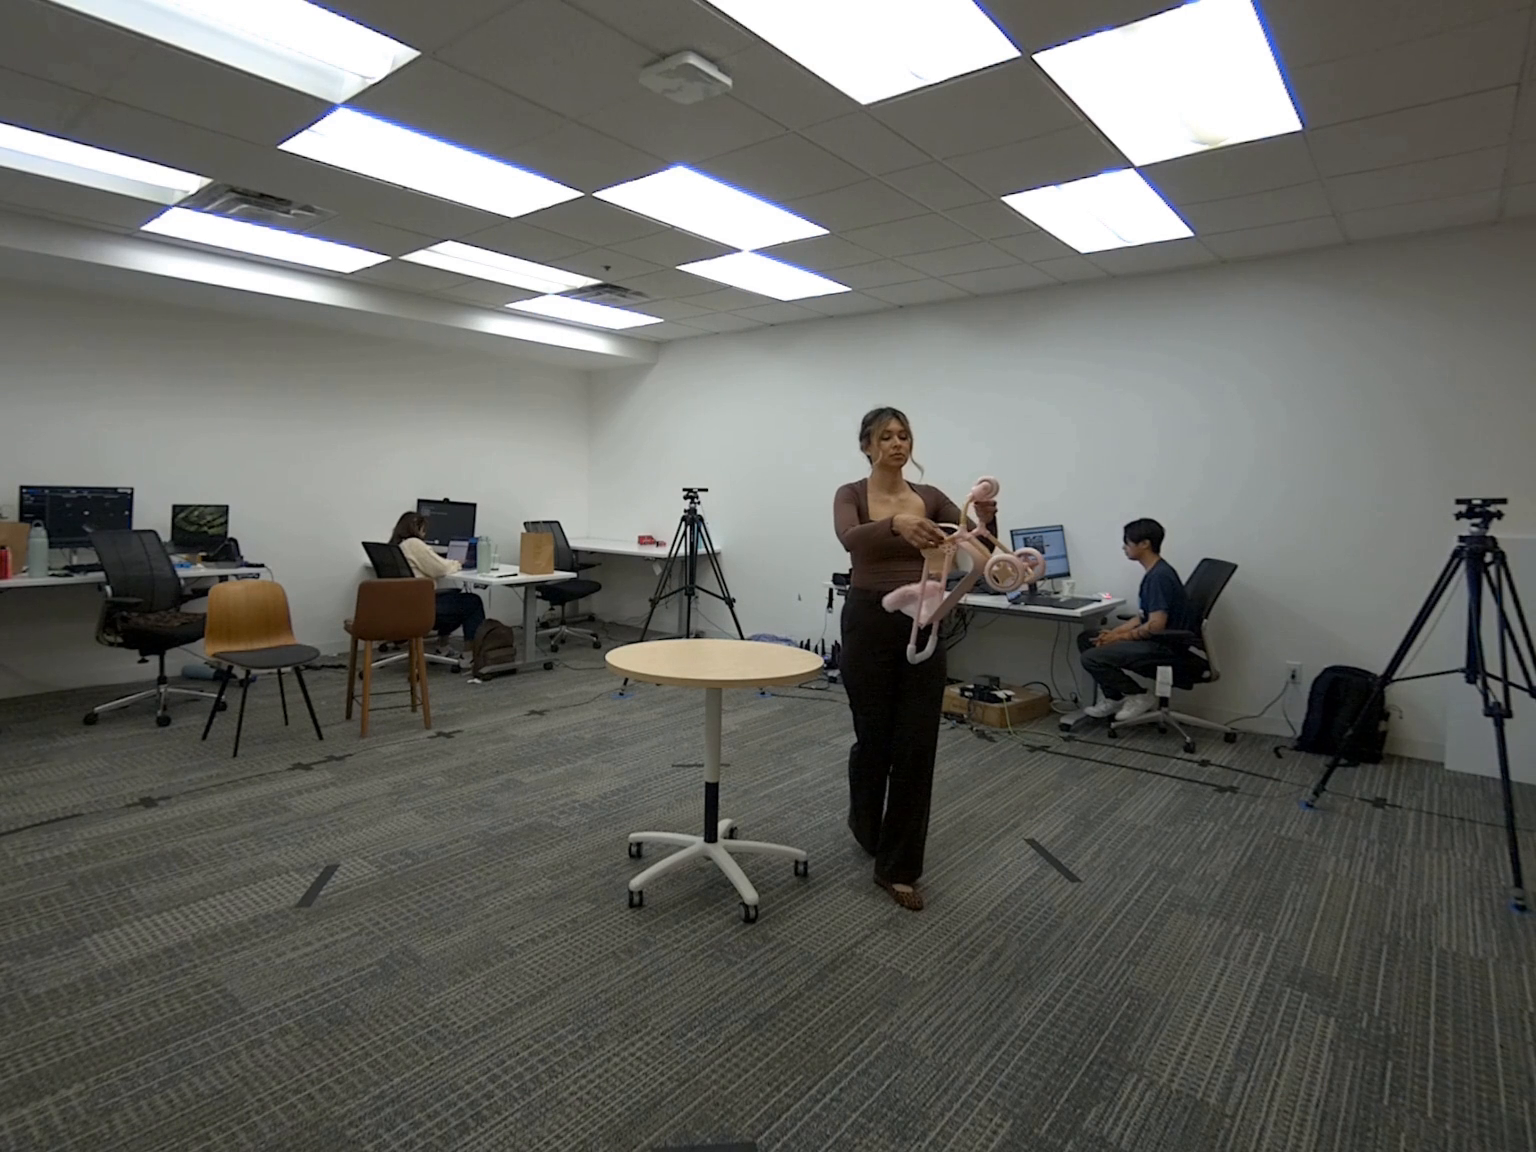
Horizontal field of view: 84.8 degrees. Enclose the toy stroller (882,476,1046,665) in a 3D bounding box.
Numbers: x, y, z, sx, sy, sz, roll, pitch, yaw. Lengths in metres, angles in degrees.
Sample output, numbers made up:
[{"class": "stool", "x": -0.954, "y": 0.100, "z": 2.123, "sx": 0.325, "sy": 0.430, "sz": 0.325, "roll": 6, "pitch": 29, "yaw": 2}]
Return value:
[{"class": "toy stroller", "x": 0.564, "y": -0.017, "z": 2.591, "sx": 0.536, "sy": 0.347, "sz": 0.276, "roll": -42, "pitch": -13, "yaw": 28}]
